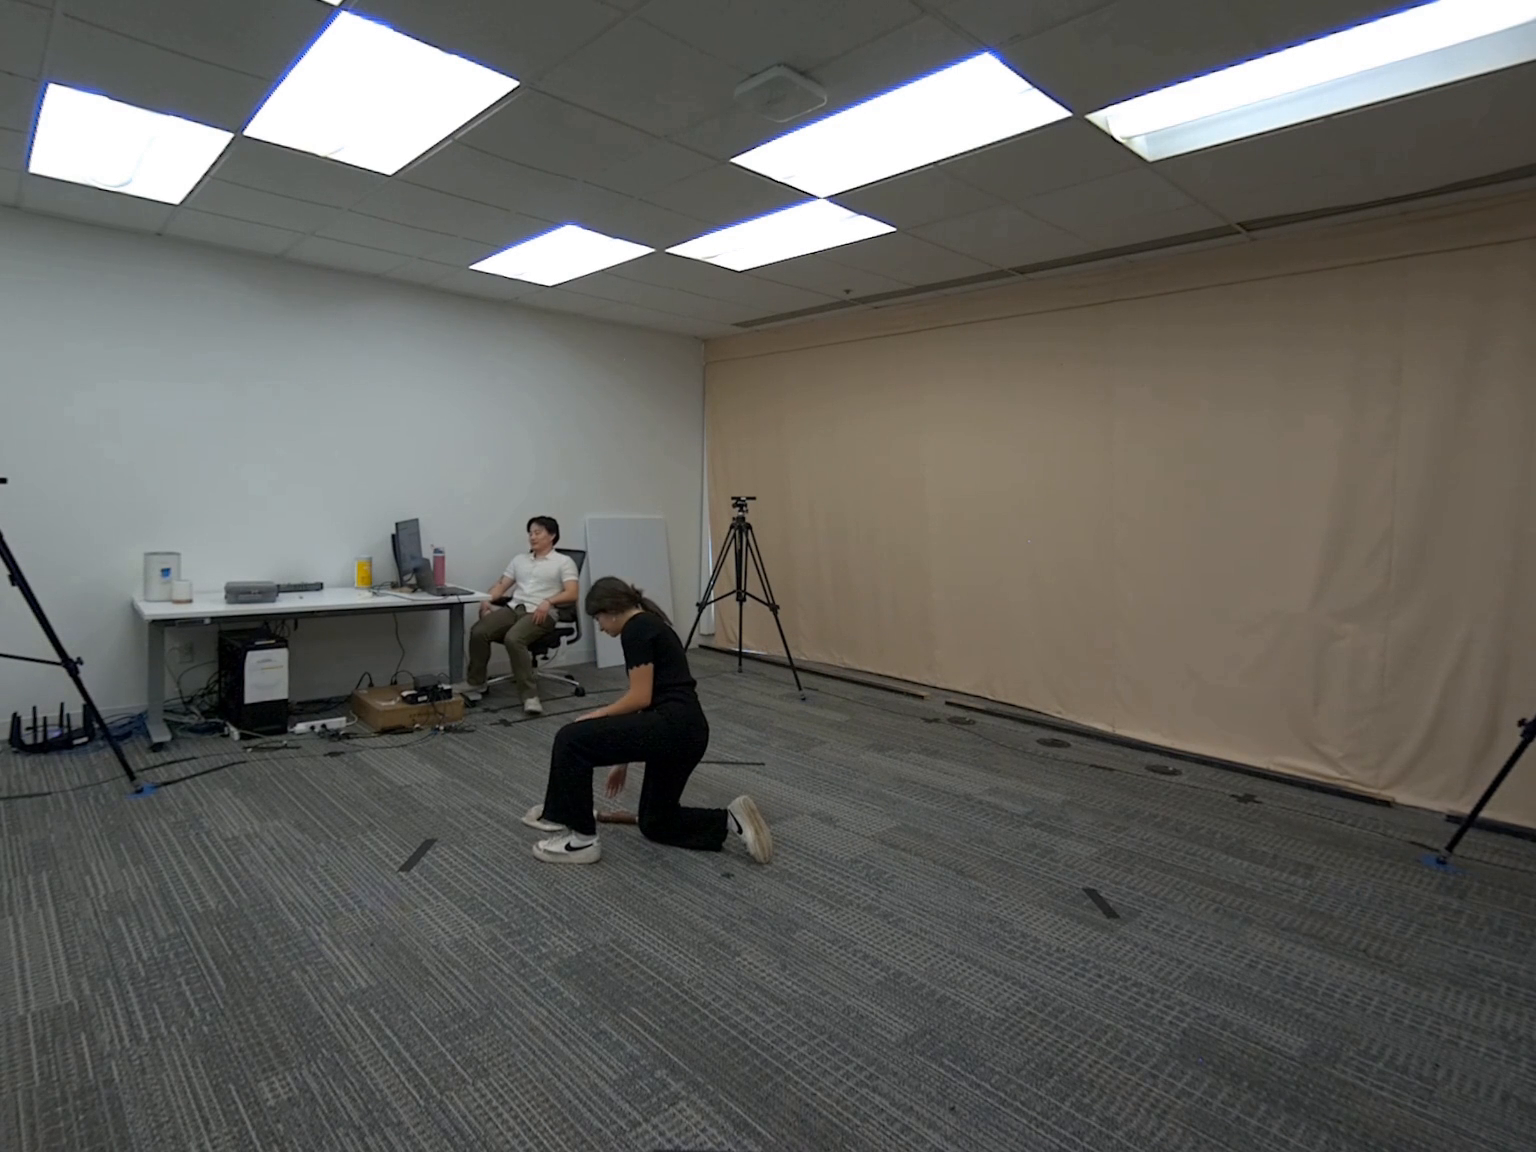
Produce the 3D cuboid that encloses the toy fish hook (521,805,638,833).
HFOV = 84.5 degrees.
[{"bbox_3d":[-0.787,1.029,3.561,0.510,0.048,0.225,2,12,8],"label":"toy fish hook"}]
